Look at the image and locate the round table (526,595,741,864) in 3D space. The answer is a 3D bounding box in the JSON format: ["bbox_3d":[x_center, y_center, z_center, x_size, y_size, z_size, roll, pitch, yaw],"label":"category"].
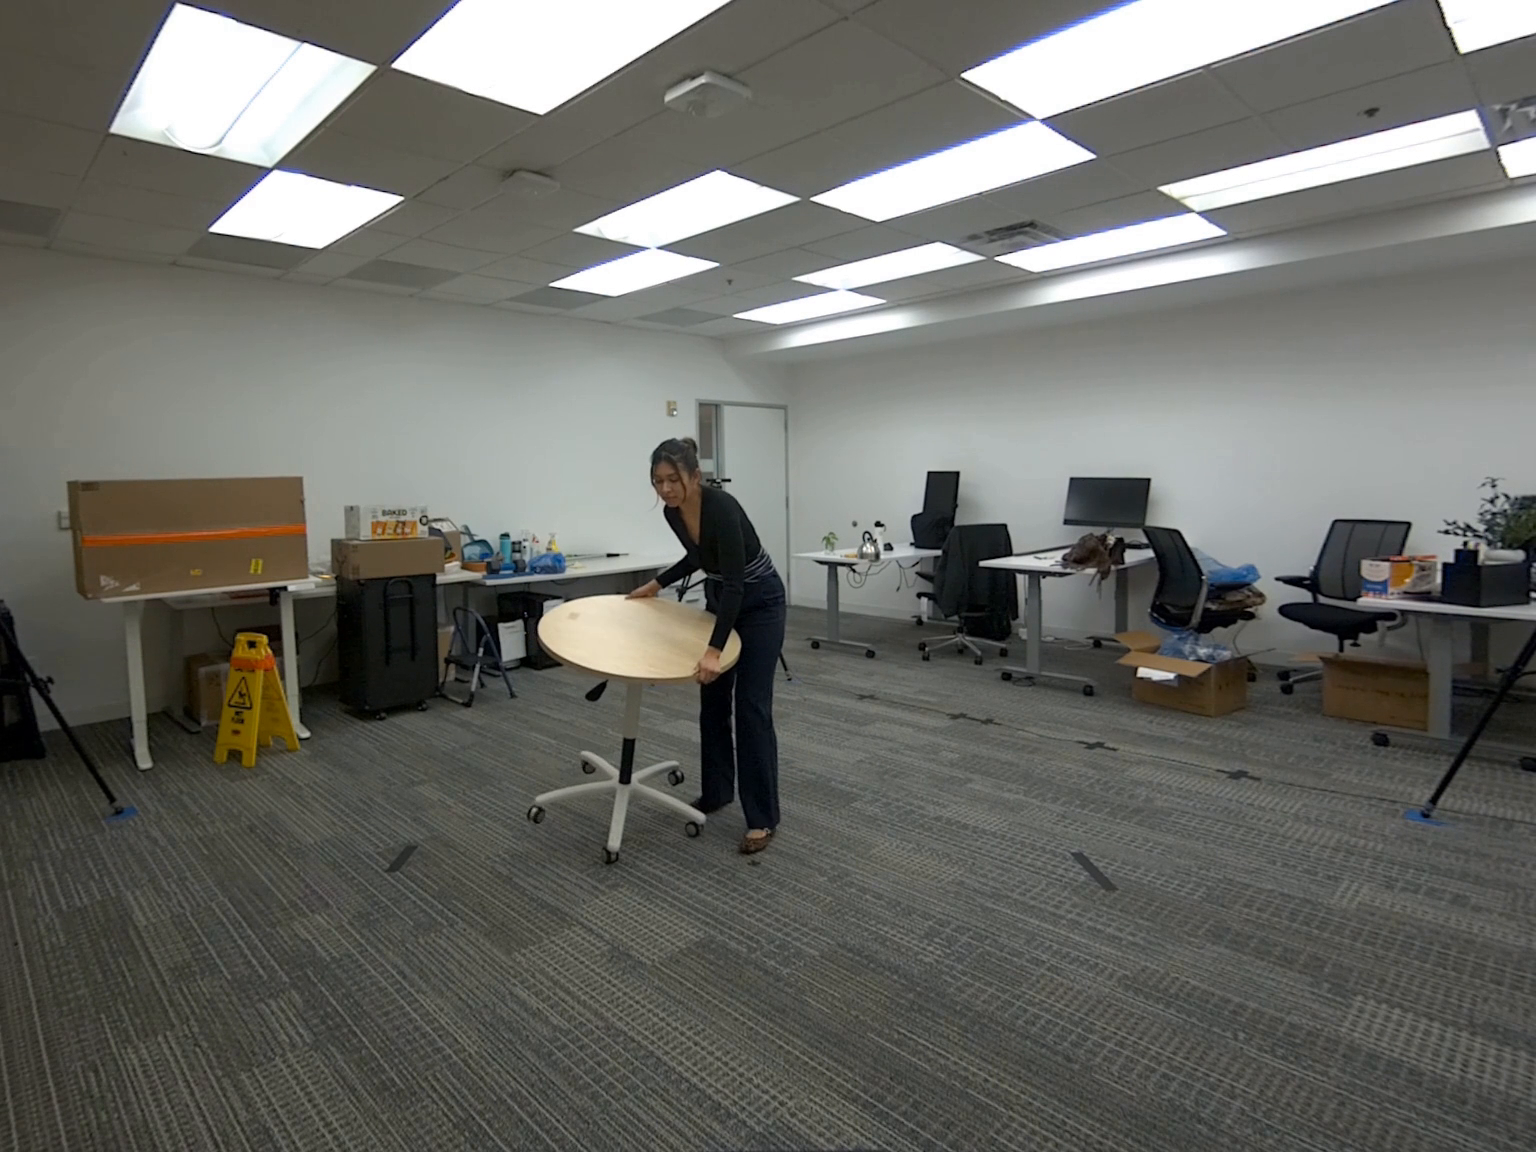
[{"bbox_3d":[-0.538,0.585,3.340,0.762,0.784,0.776,6,17,-4],"label":"round table"}]
